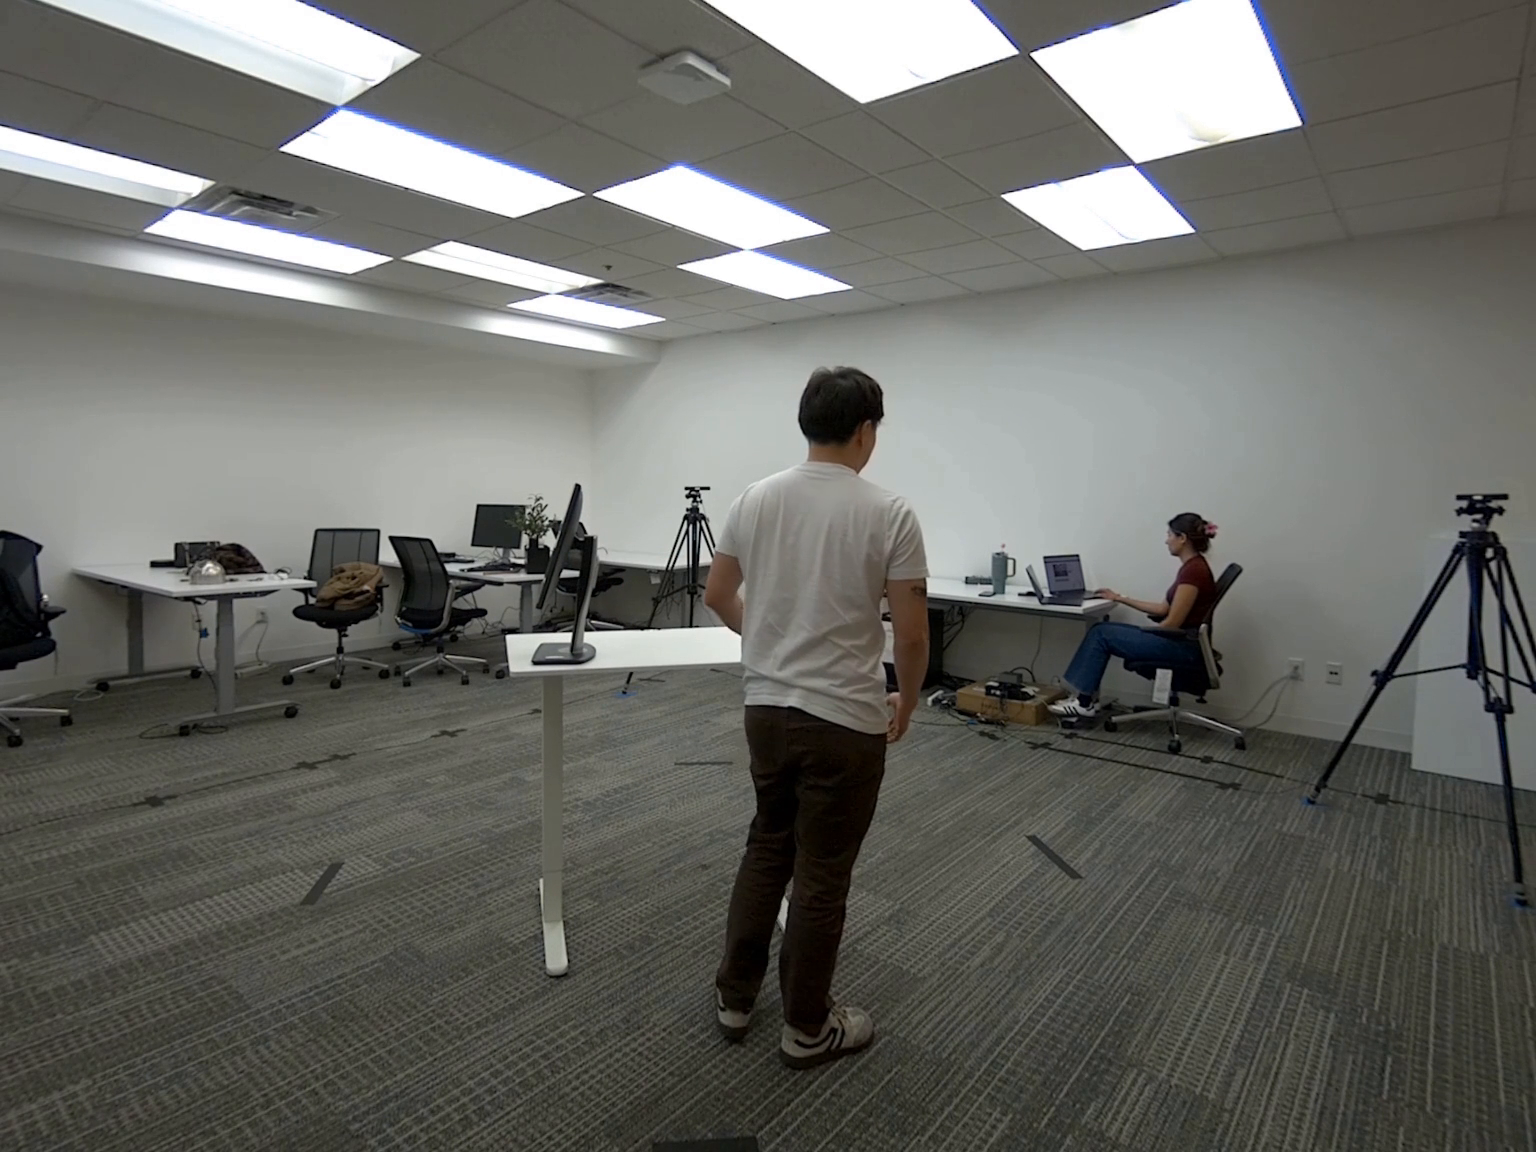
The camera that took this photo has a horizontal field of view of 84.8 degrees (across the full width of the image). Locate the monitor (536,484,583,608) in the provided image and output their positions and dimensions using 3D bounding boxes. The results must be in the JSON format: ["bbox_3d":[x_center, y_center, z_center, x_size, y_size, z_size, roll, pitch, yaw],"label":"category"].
[{"bbox_3d":[-0.609,-0.016,2.535,0.184,0.521,0.548,4,3,-14],"label":"monitor"}]
